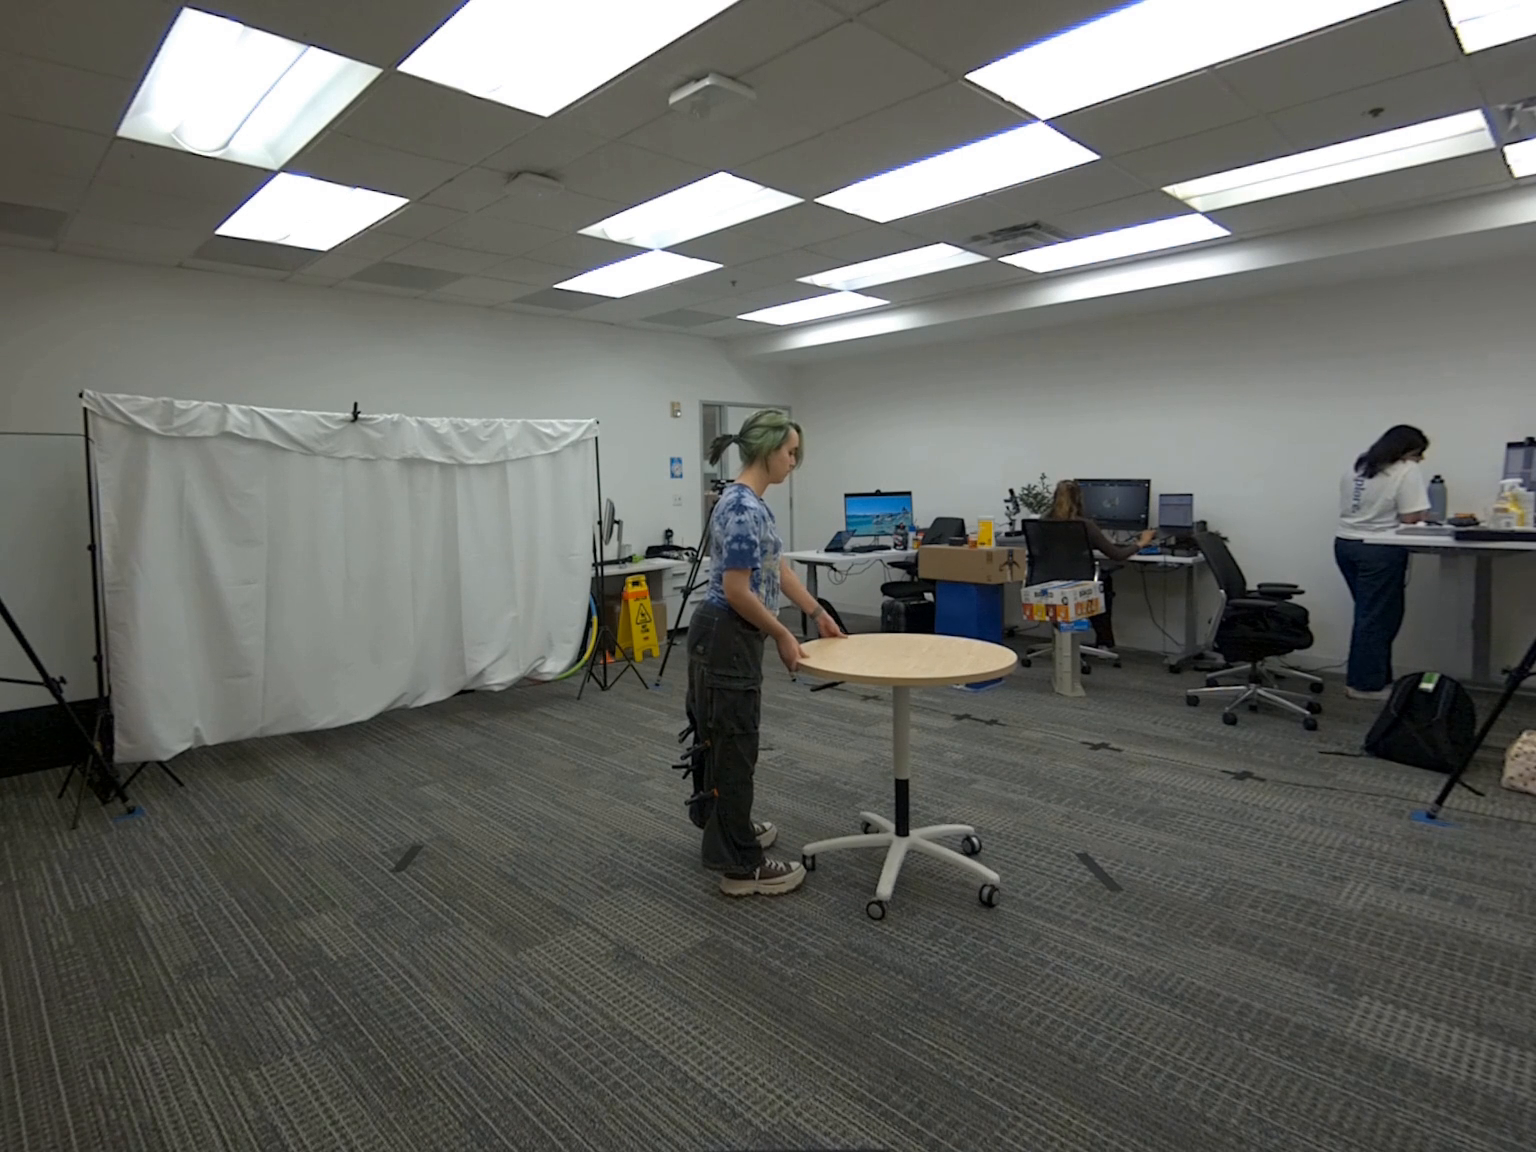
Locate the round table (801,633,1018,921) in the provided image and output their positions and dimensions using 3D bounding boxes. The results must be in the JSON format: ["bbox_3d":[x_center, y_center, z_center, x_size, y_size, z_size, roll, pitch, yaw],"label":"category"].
[{"bbox_3d":[0.466,0.662,2.985,0.763,0.791,0.768,-1,5,-2],"label":"round table"}]
